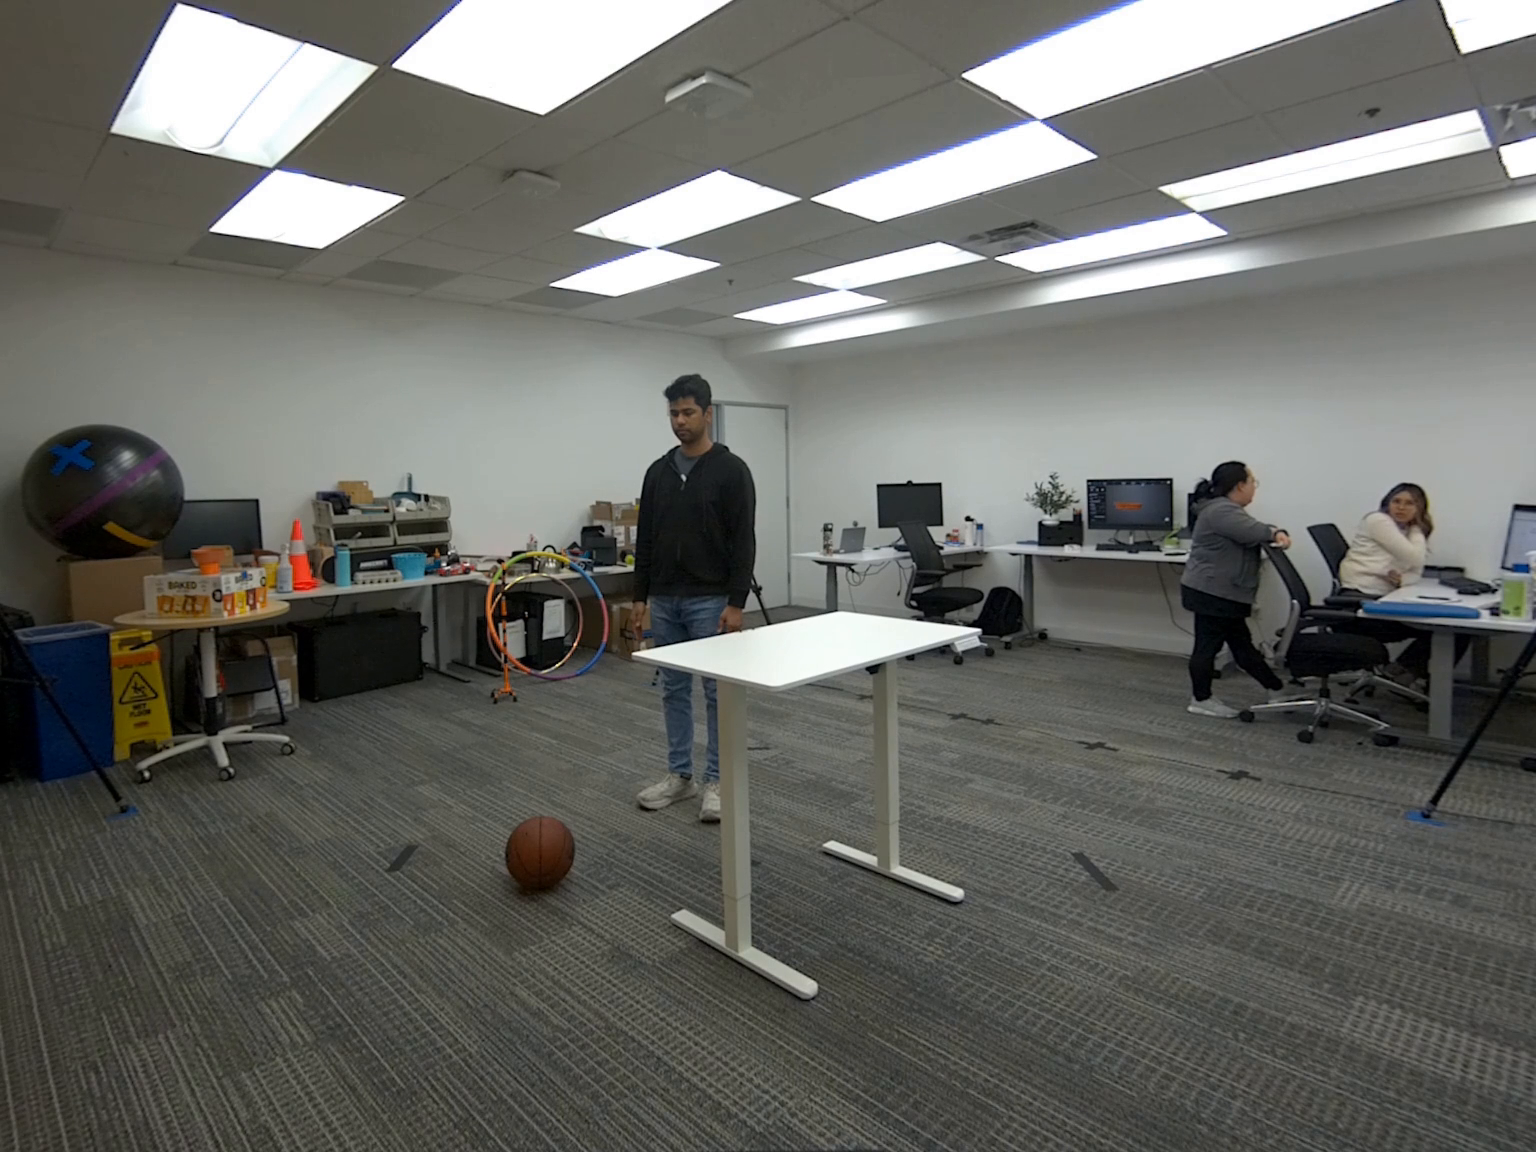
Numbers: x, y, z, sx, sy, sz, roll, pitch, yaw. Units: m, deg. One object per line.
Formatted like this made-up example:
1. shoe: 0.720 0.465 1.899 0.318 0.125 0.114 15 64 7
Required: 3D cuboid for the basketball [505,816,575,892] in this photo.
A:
1. basketball: -0.785 0.952 2.956 0.236 0.235 0.237 -1 5 -2
